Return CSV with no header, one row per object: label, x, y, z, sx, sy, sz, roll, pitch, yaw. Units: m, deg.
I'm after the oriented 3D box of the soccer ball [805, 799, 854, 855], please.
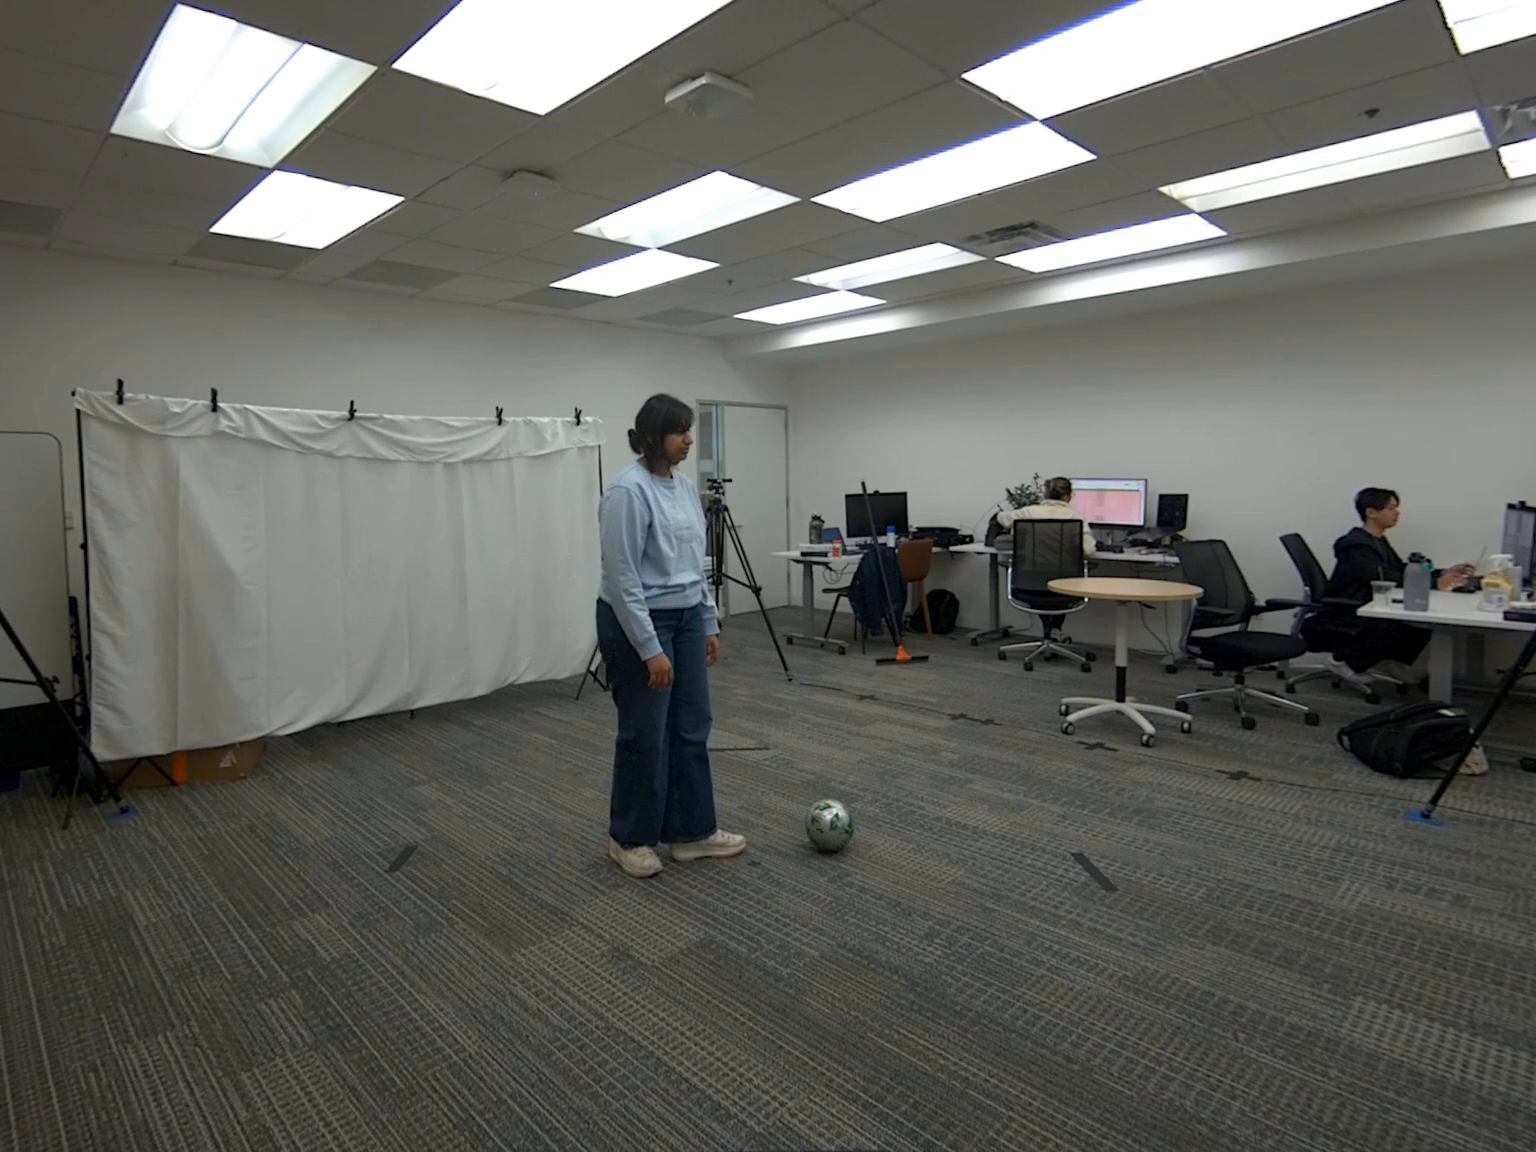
soccer ball,0.229,0.933,3.207,0.187,0.187,0.188,-1,5,-2
